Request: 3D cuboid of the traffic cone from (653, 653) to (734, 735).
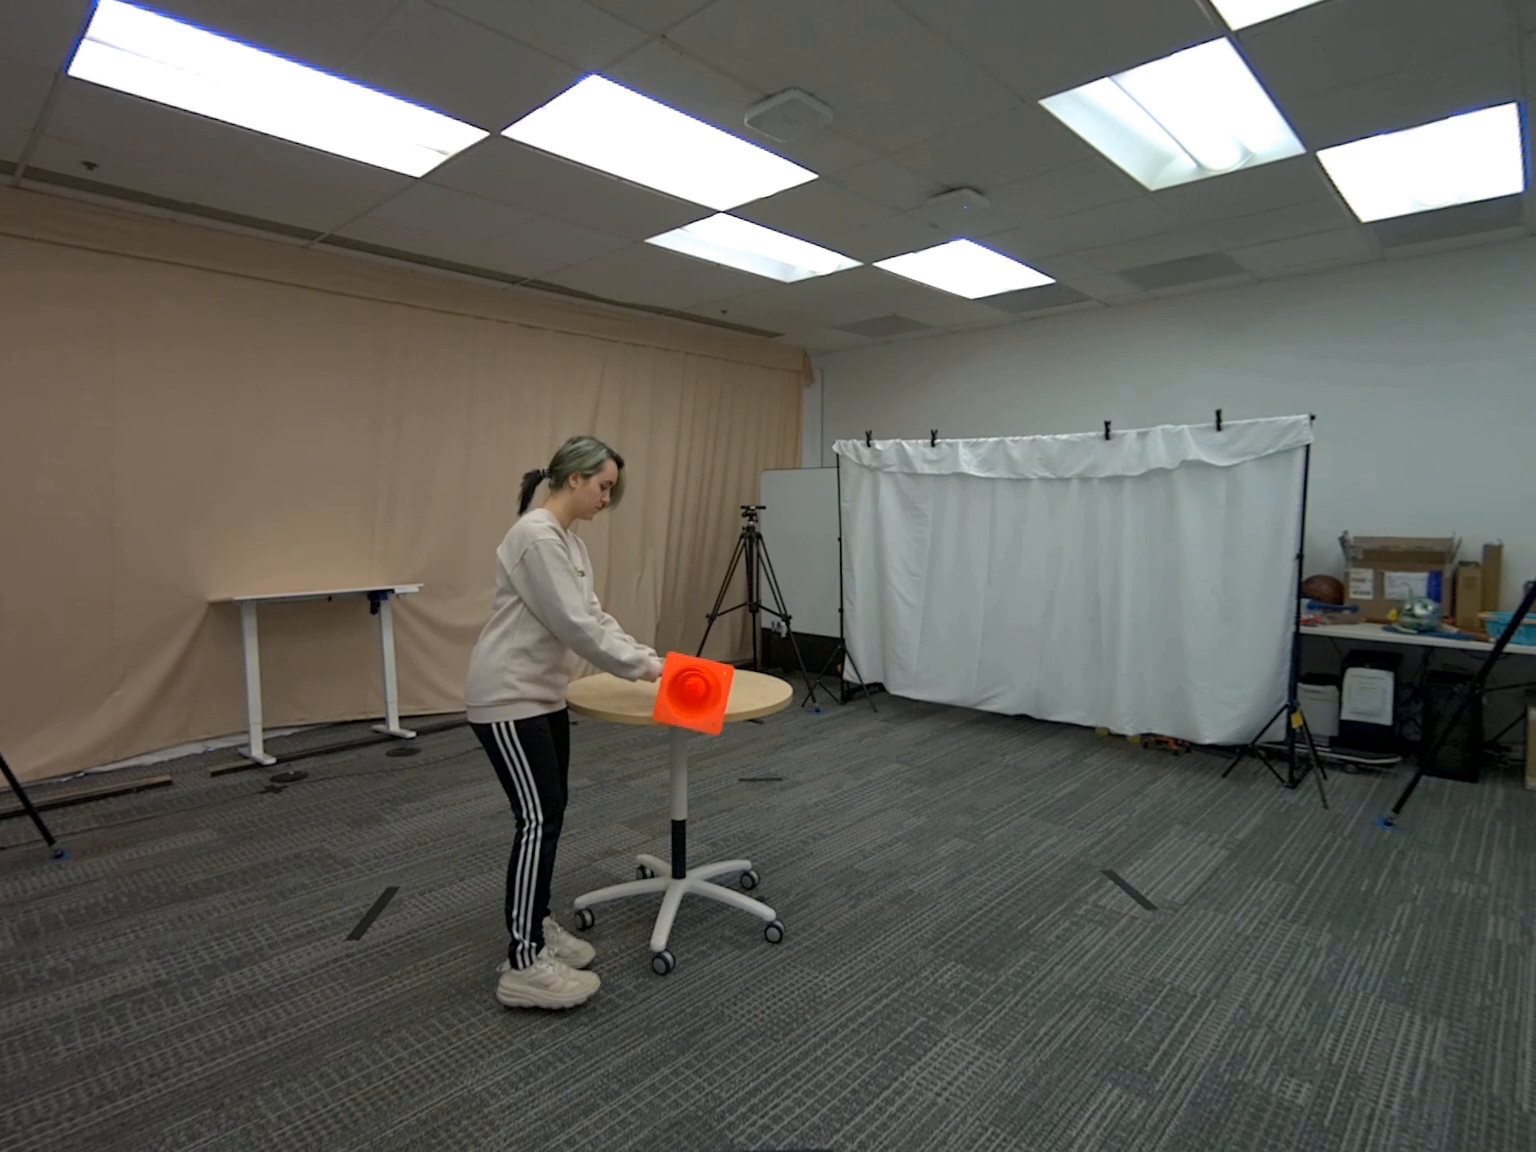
[{"bbox_3d":[-0.221,0.359,2.568,0.205,0.204,0.381,7,-9,-1],"label":"traffic cone"}]
